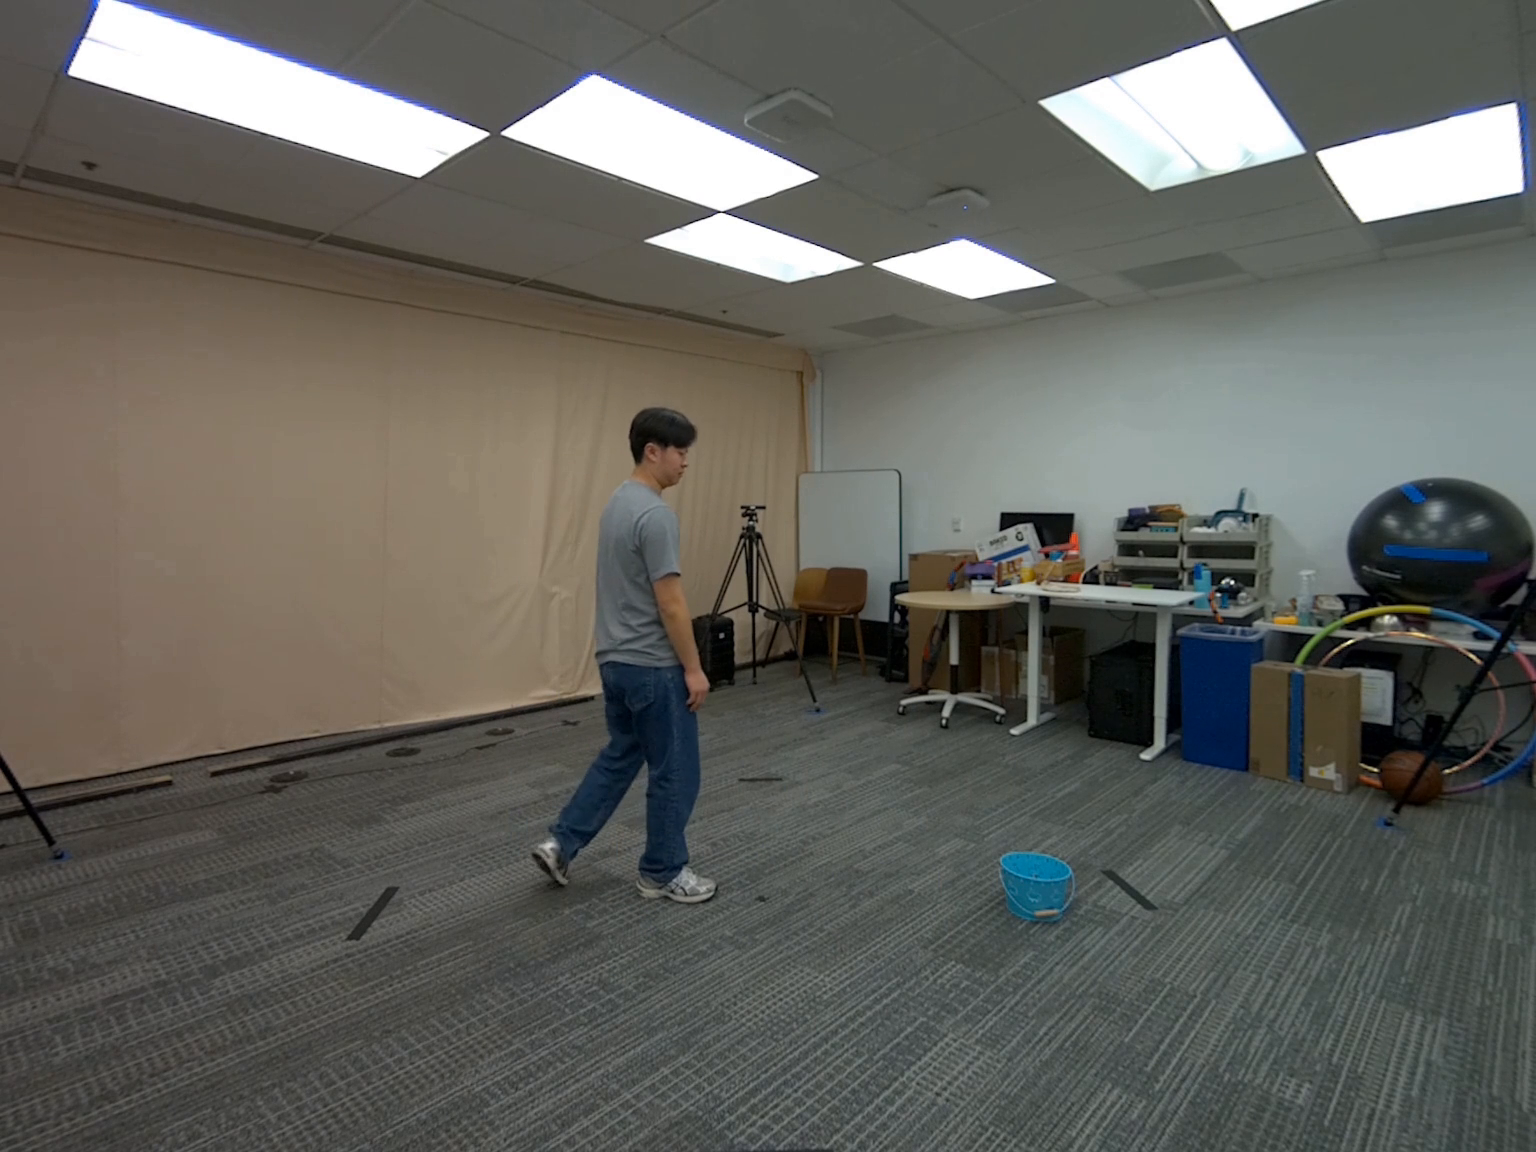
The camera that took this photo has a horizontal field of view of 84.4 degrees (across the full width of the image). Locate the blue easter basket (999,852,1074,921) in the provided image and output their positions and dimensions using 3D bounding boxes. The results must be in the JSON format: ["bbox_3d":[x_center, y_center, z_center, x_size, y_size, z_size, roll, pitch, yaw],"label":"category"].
[{"bbox_3d":[0.924,1.075,2.893,0.243,0.155,0.244,0,4,-2],"label":"blue easter basket"}]
